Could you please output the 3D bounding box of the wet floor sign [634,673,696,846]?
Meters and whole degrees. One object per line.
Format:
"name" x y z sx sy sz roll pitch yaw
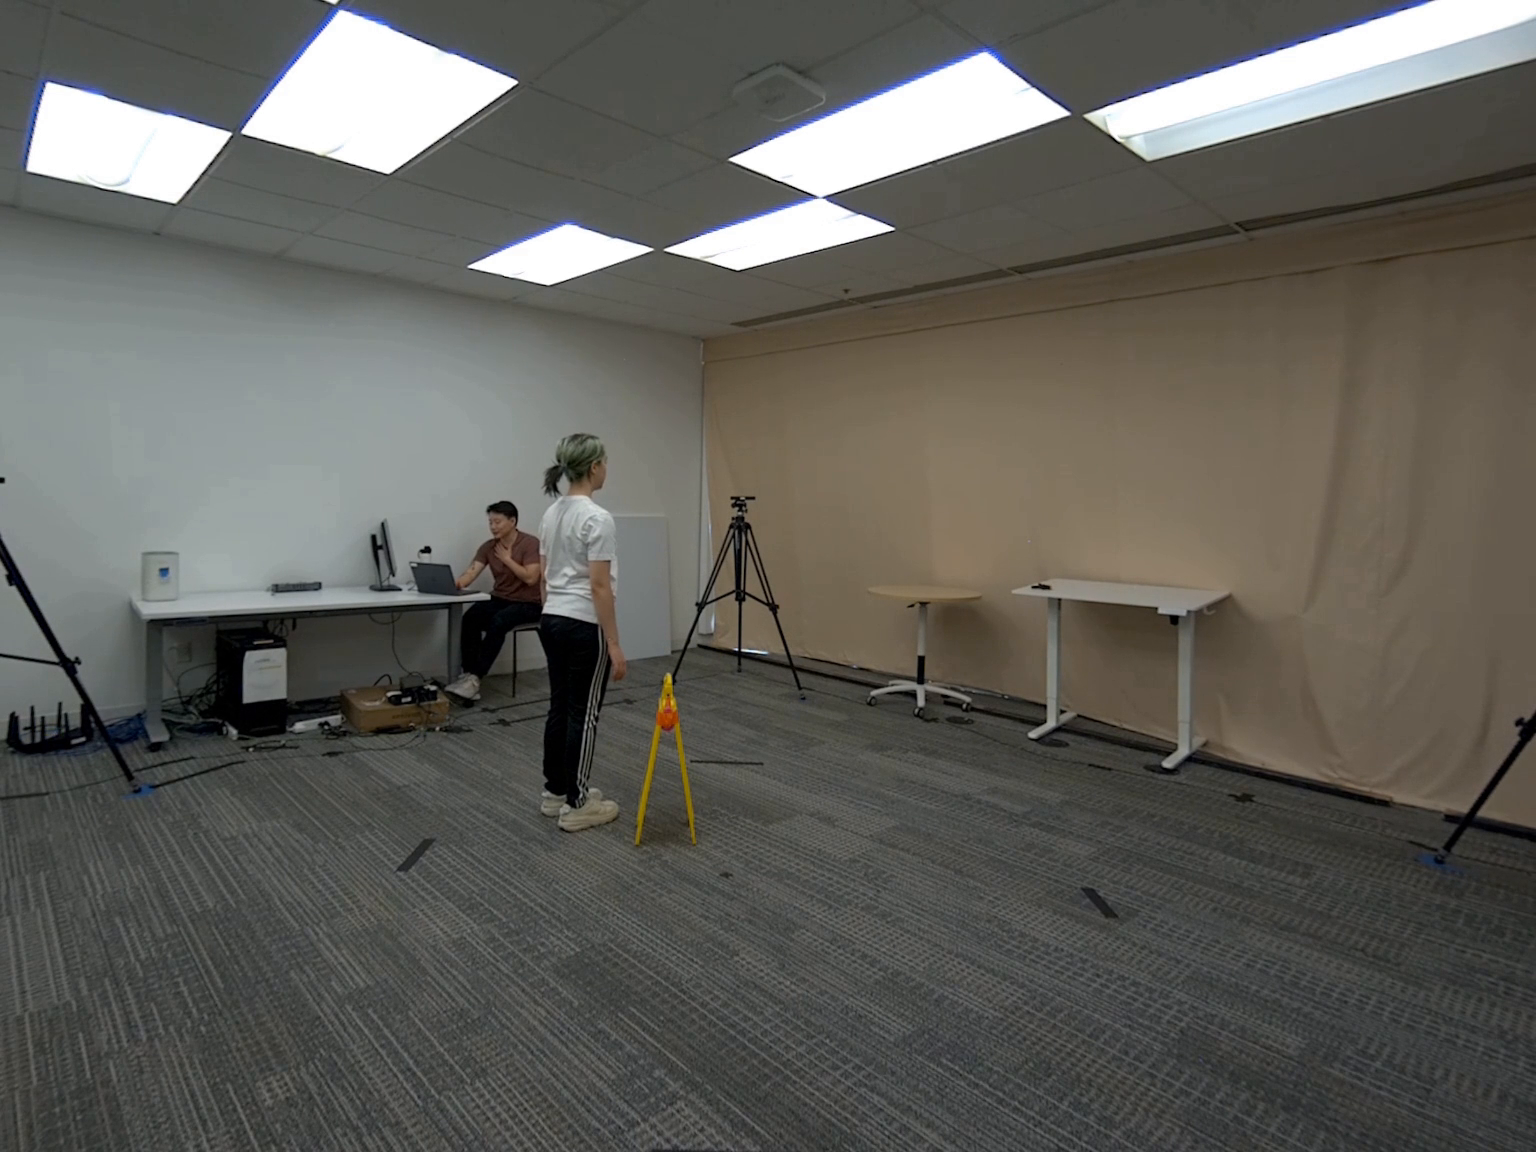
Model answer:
"wet floor sign" -0.425 0.742 3.477 0.289 0.645 0.284 0 3 -5
